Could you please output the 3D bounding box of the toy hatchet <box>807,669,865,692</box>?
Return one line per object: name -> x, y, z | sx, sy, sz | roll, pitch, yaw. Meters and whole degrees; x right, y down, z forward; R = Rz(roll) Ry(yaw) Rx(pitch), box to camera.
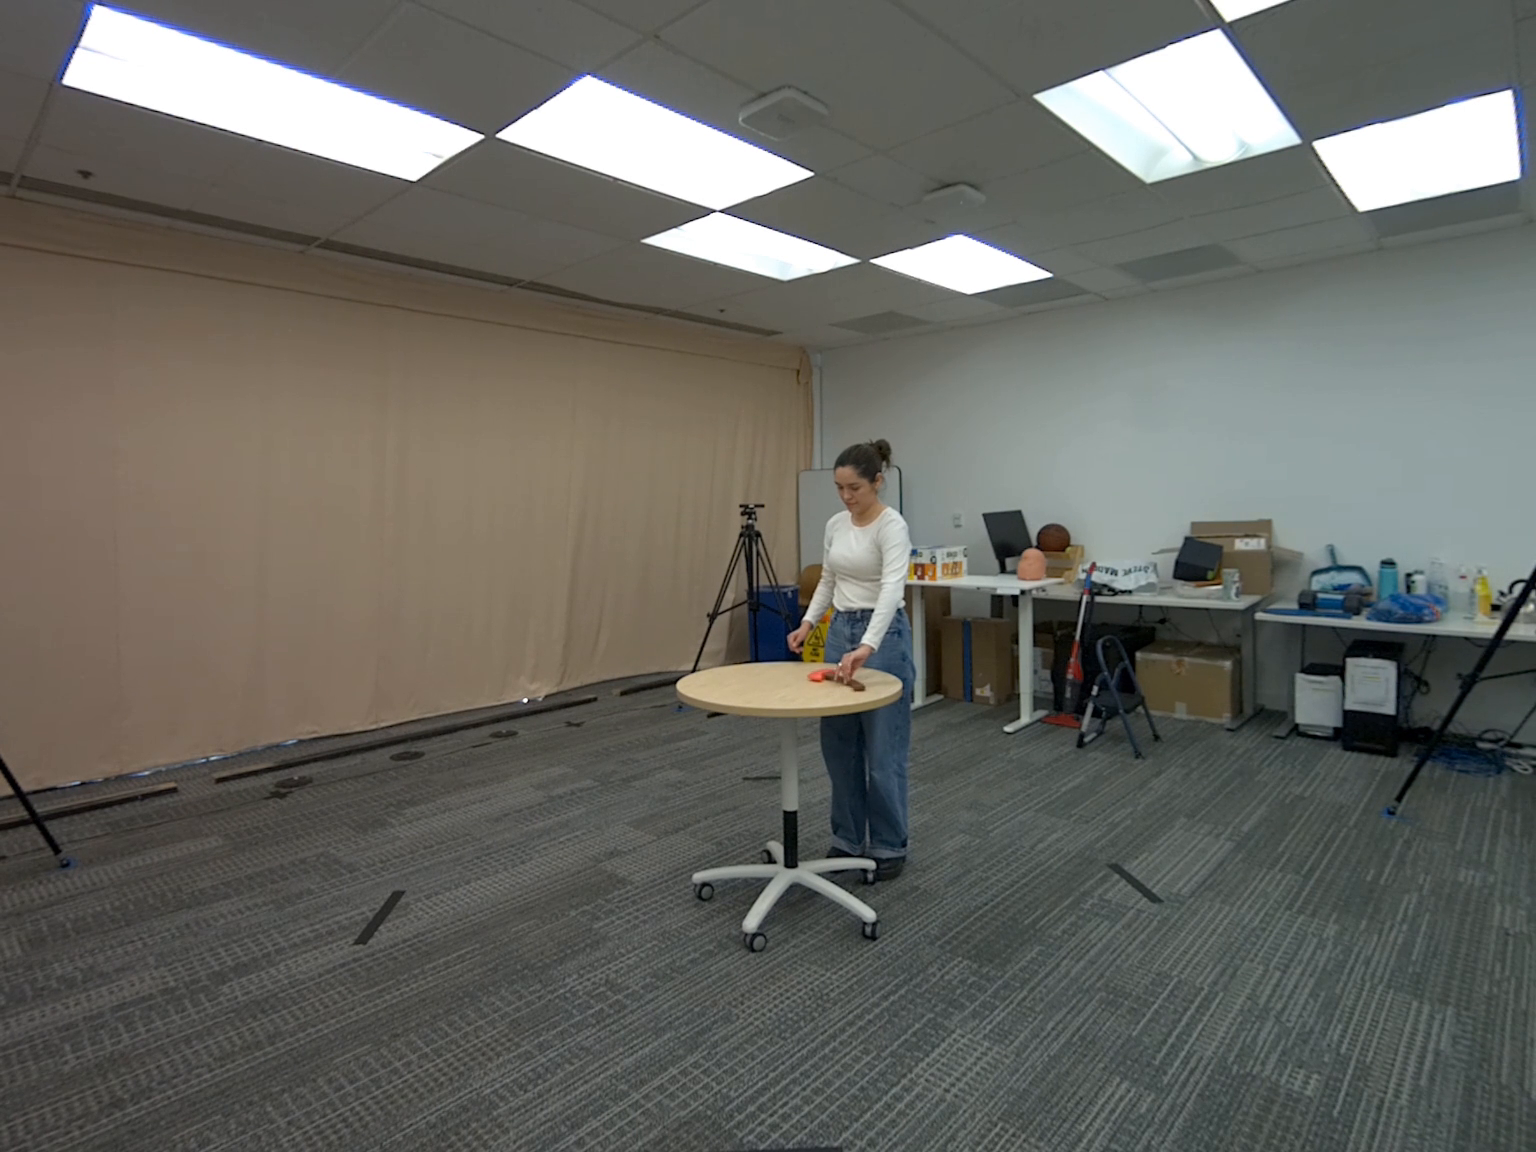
toy hatchet -> 0.229, 0.356, 2.824 | 0.130, 0.029, 0.274 | -4, 8, -11
